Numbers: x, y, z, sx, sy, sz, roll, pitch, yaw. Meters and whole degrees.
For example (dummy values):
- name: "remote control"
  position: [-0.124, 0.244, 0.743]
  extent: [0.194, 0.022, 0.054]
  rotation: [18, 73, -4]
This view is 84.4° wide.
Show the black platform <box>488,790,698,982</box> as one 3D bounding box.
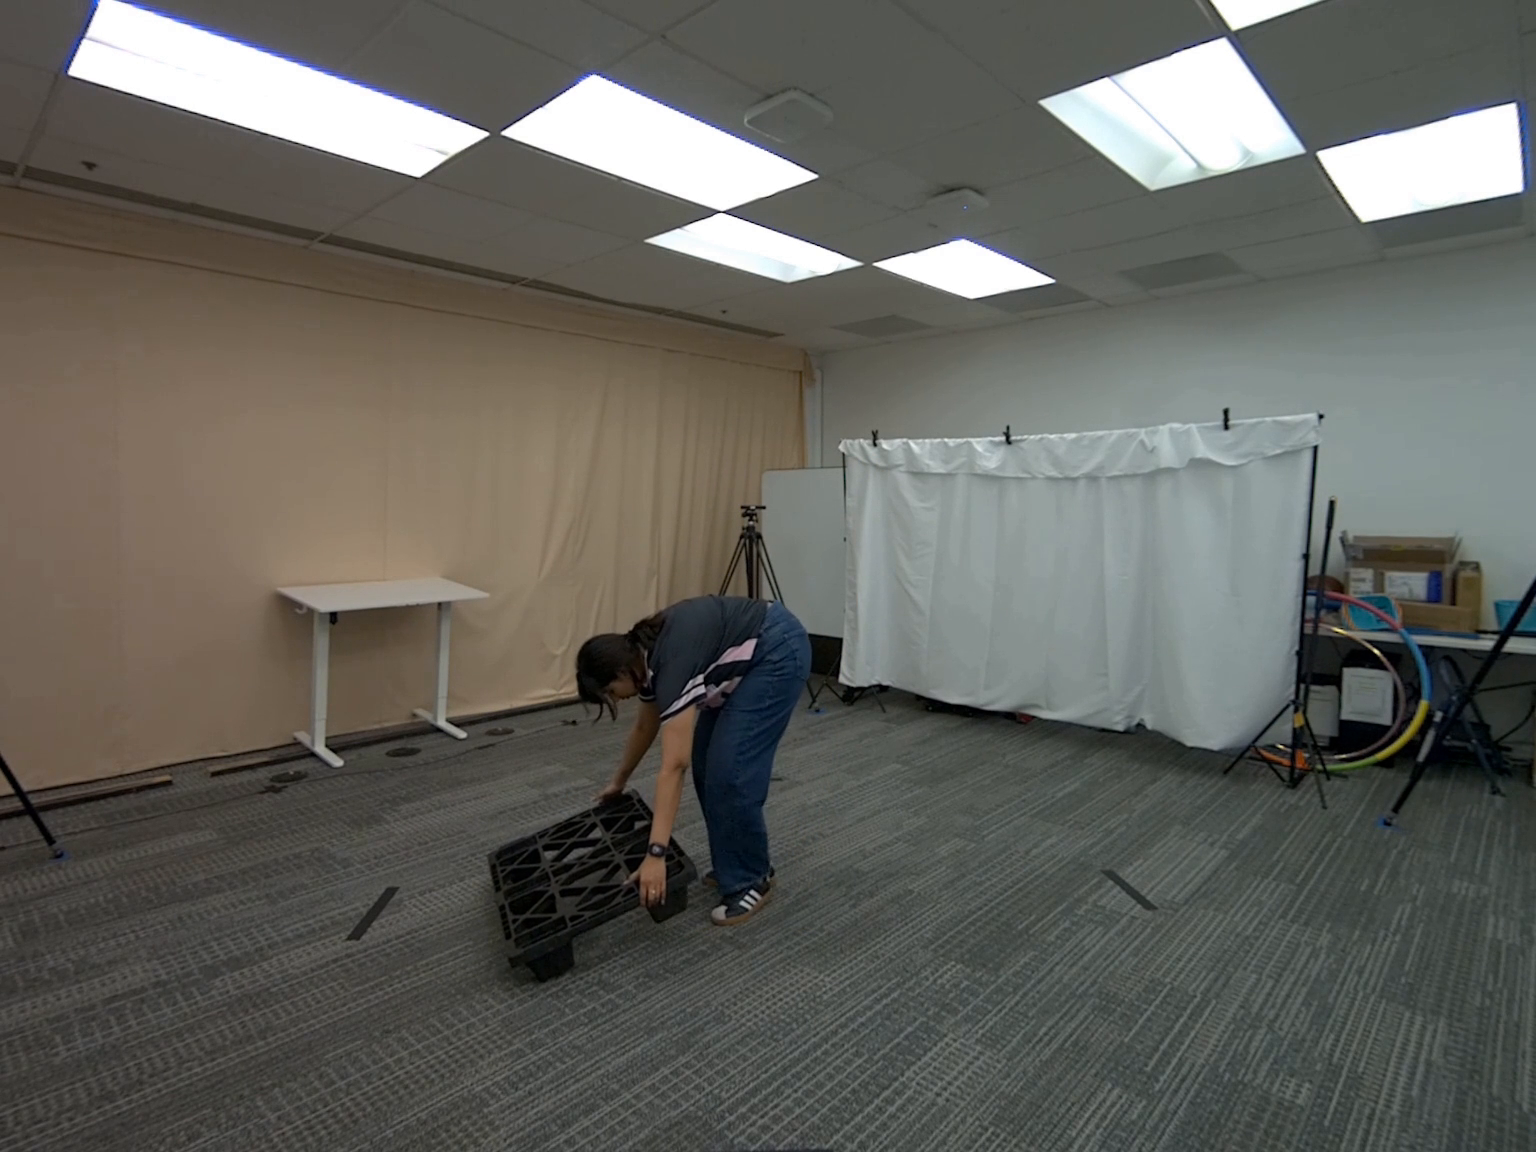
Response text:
- name: "black platform"
  position: [-0.618, 1.029, 2.868]
  extent: [0.596, 0.142, 0.824]
  rotation: [-20, 11, -19]
